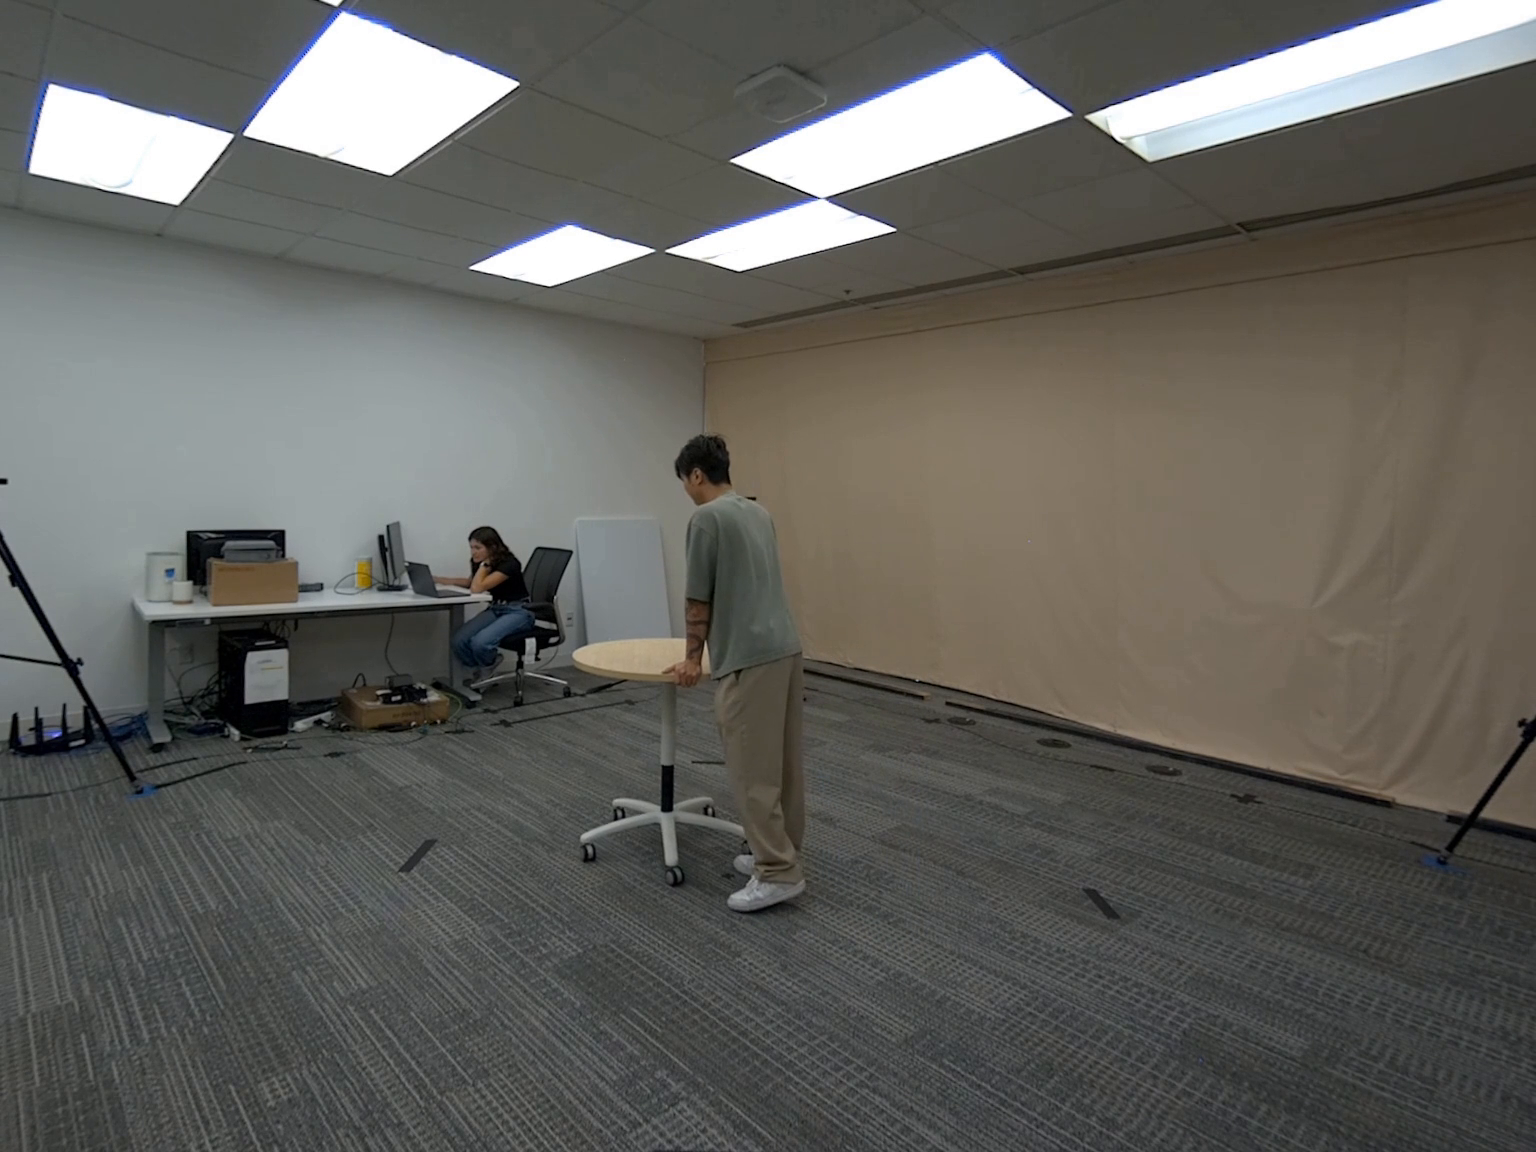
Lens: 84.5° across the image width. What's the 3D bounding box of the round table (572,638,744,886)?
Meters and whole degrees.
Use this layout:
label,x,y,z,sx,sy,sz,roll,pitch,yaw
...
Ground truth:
label,x,y,z,sx,sy,sz,roll,pitch,yaw
round table,-0.392,0.691,3.364,0.784,0.784,0.788,2,4,-1
